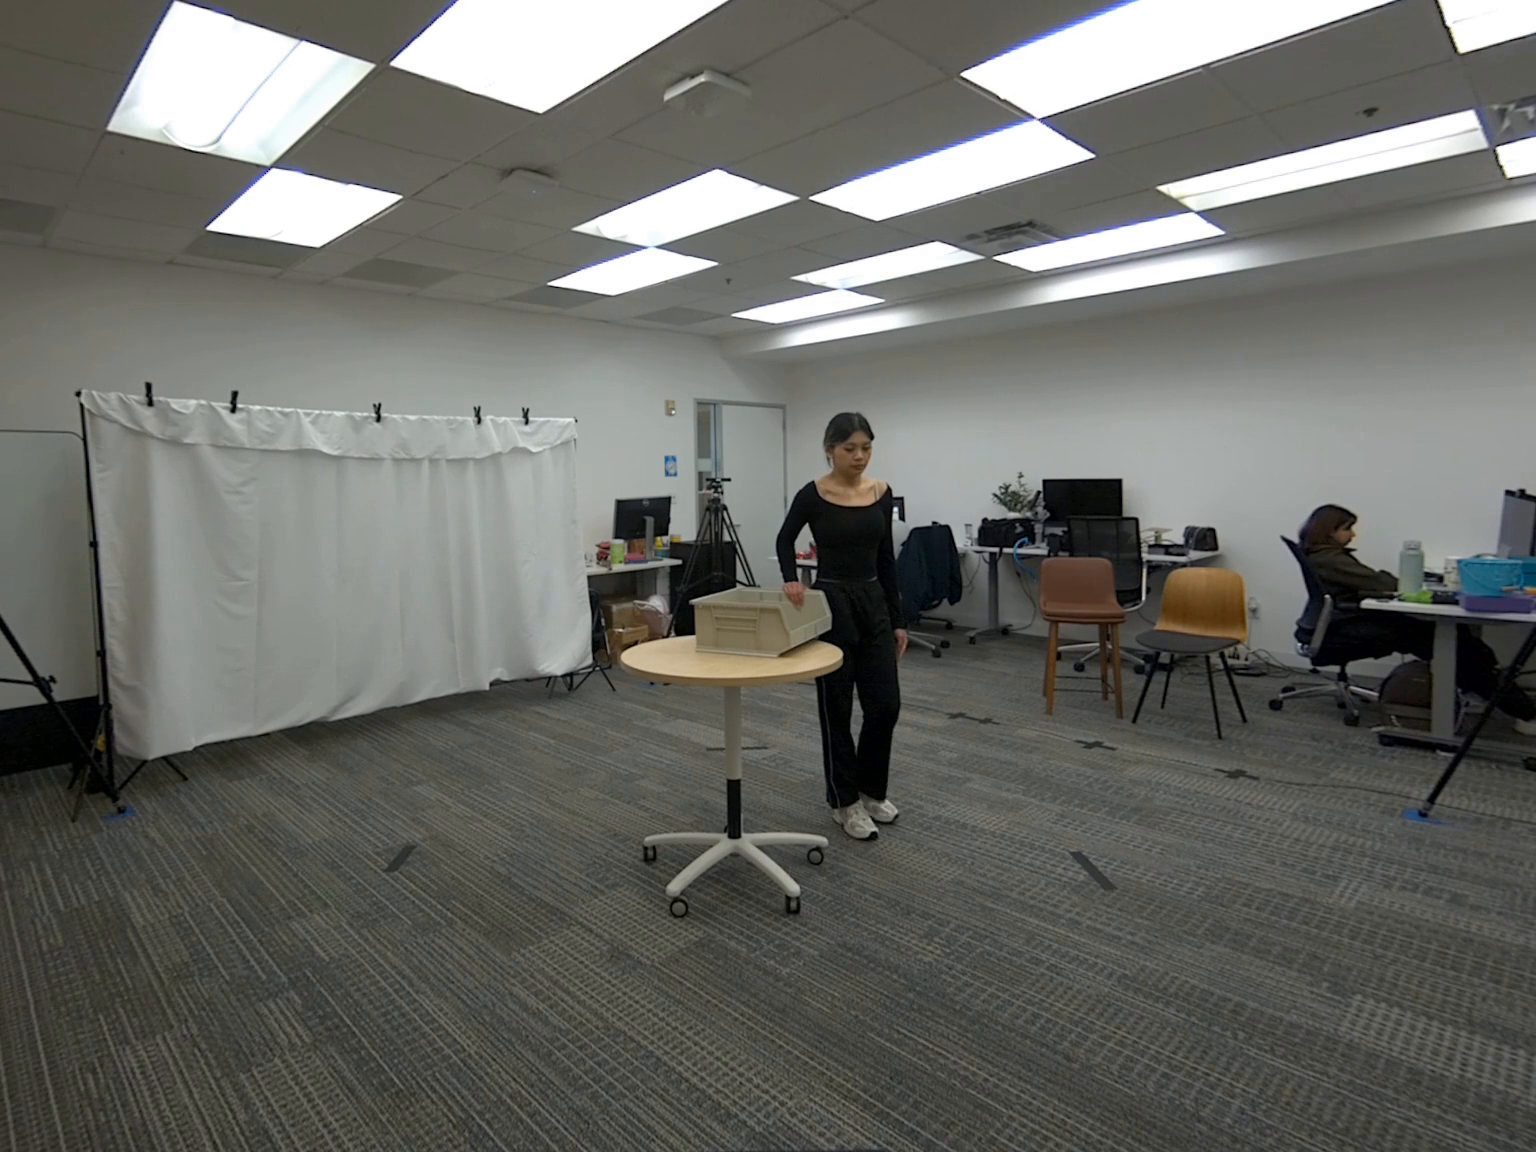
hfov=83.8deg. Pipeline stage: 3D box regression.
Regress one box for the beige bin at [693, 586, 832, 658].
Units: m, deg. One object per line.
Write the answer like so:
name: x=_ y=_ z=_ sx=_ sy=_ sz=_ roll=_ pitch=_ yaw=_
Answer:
beige bin: x=-0.015 y=0.159 z=3.098 sx=0.386 sy=0.188 sz=0.415 roll=0 pitch=6 yaw=24
